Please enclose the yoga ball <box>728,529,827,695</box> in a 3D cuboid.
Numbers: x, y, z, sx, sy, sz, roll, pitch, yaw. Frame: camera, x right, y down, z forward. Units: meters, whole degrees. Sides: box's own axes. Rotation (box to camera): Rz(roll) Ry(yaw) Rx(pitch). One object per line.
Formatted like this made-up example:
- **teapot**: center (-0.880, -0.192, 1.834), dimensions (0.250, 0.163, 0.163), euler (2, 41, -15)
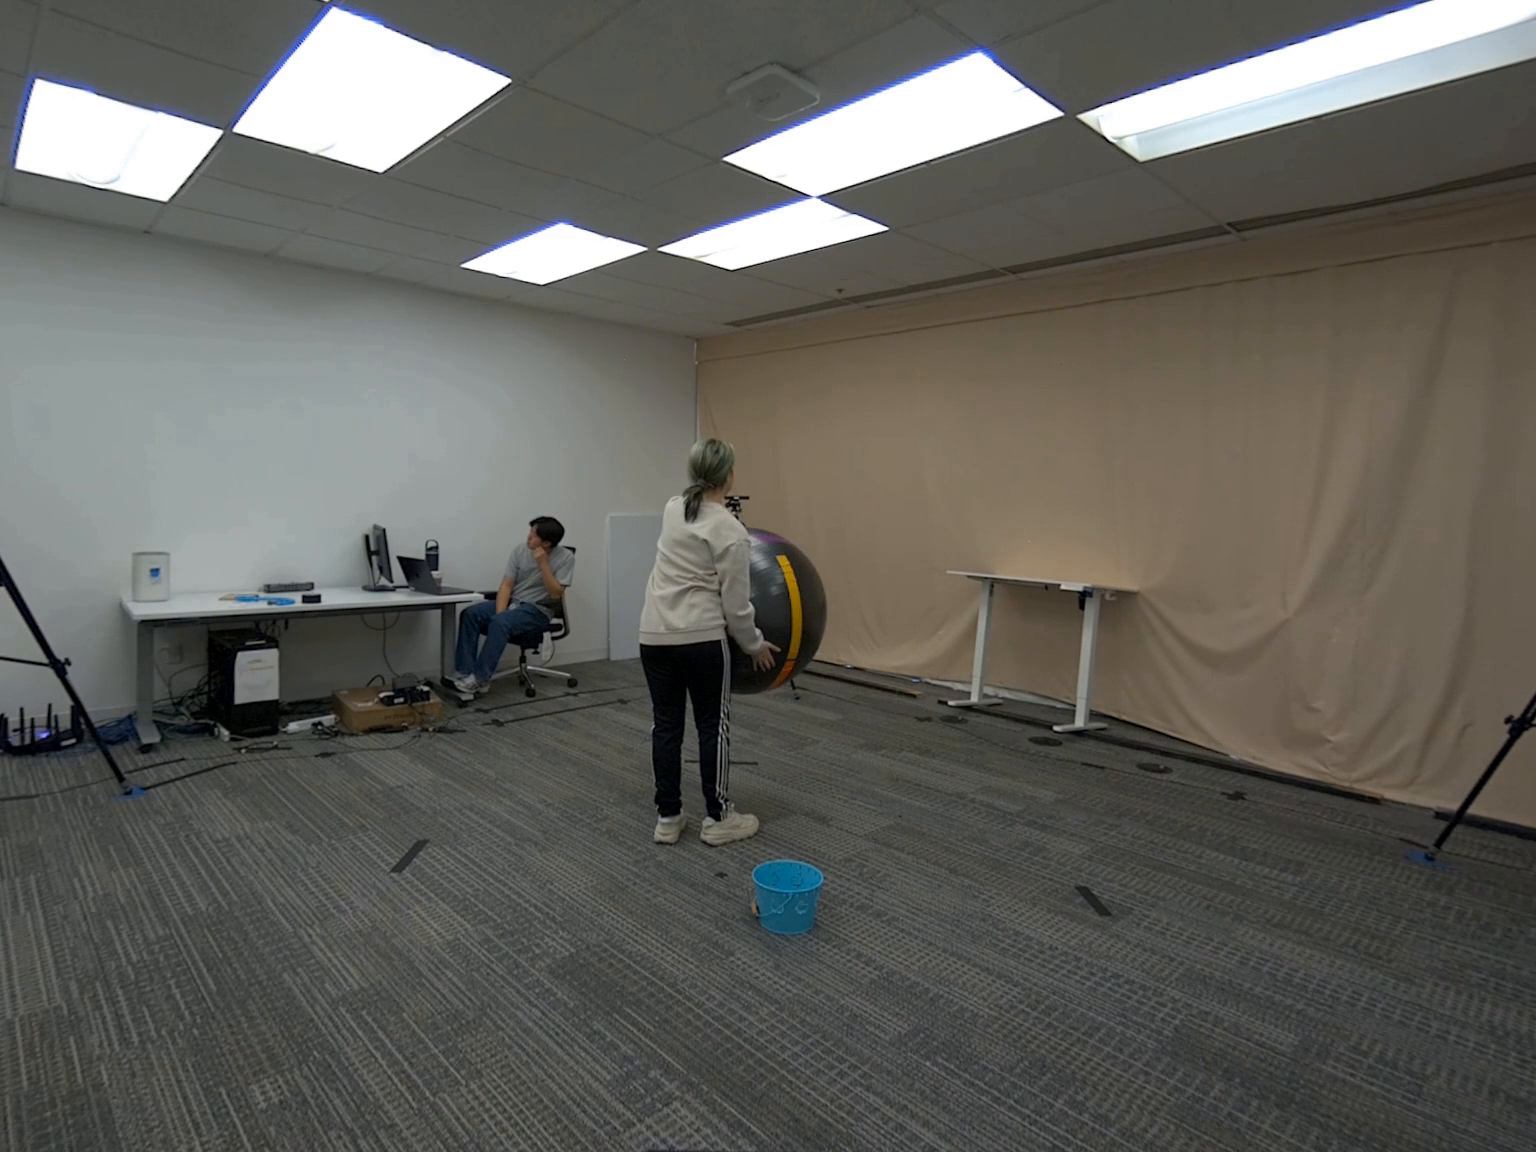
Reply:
- **yoga ball**: center (-0.112, 0.163, 3.868), dimensions (0.757, 0.756, 0.761), euler (1, 4, -1)
